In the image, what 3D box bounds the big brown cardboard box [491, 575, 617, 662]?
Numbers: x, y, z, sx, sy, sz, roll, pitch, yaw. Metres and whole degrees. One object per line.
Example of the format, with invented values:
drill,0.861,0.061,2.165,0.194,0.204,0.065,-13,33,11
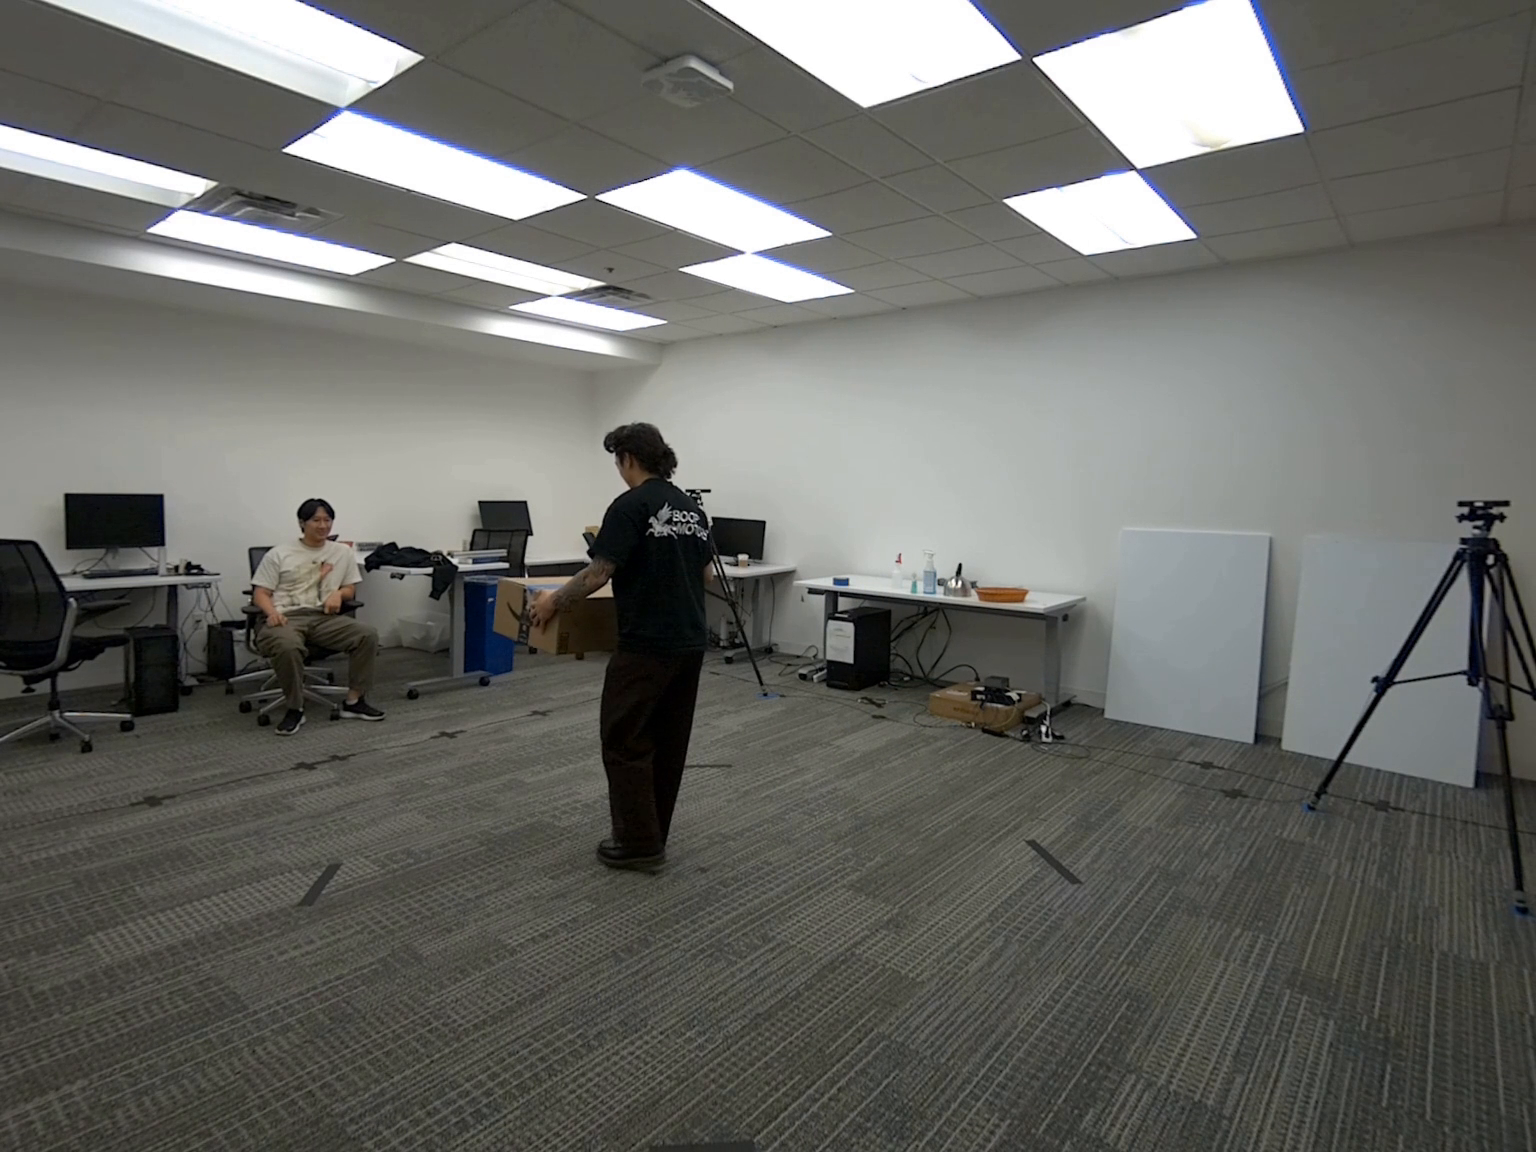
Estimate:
big brown cardboard box,-0.752,0.151,3.439,0.433,0.232,0.571,12,10,39
